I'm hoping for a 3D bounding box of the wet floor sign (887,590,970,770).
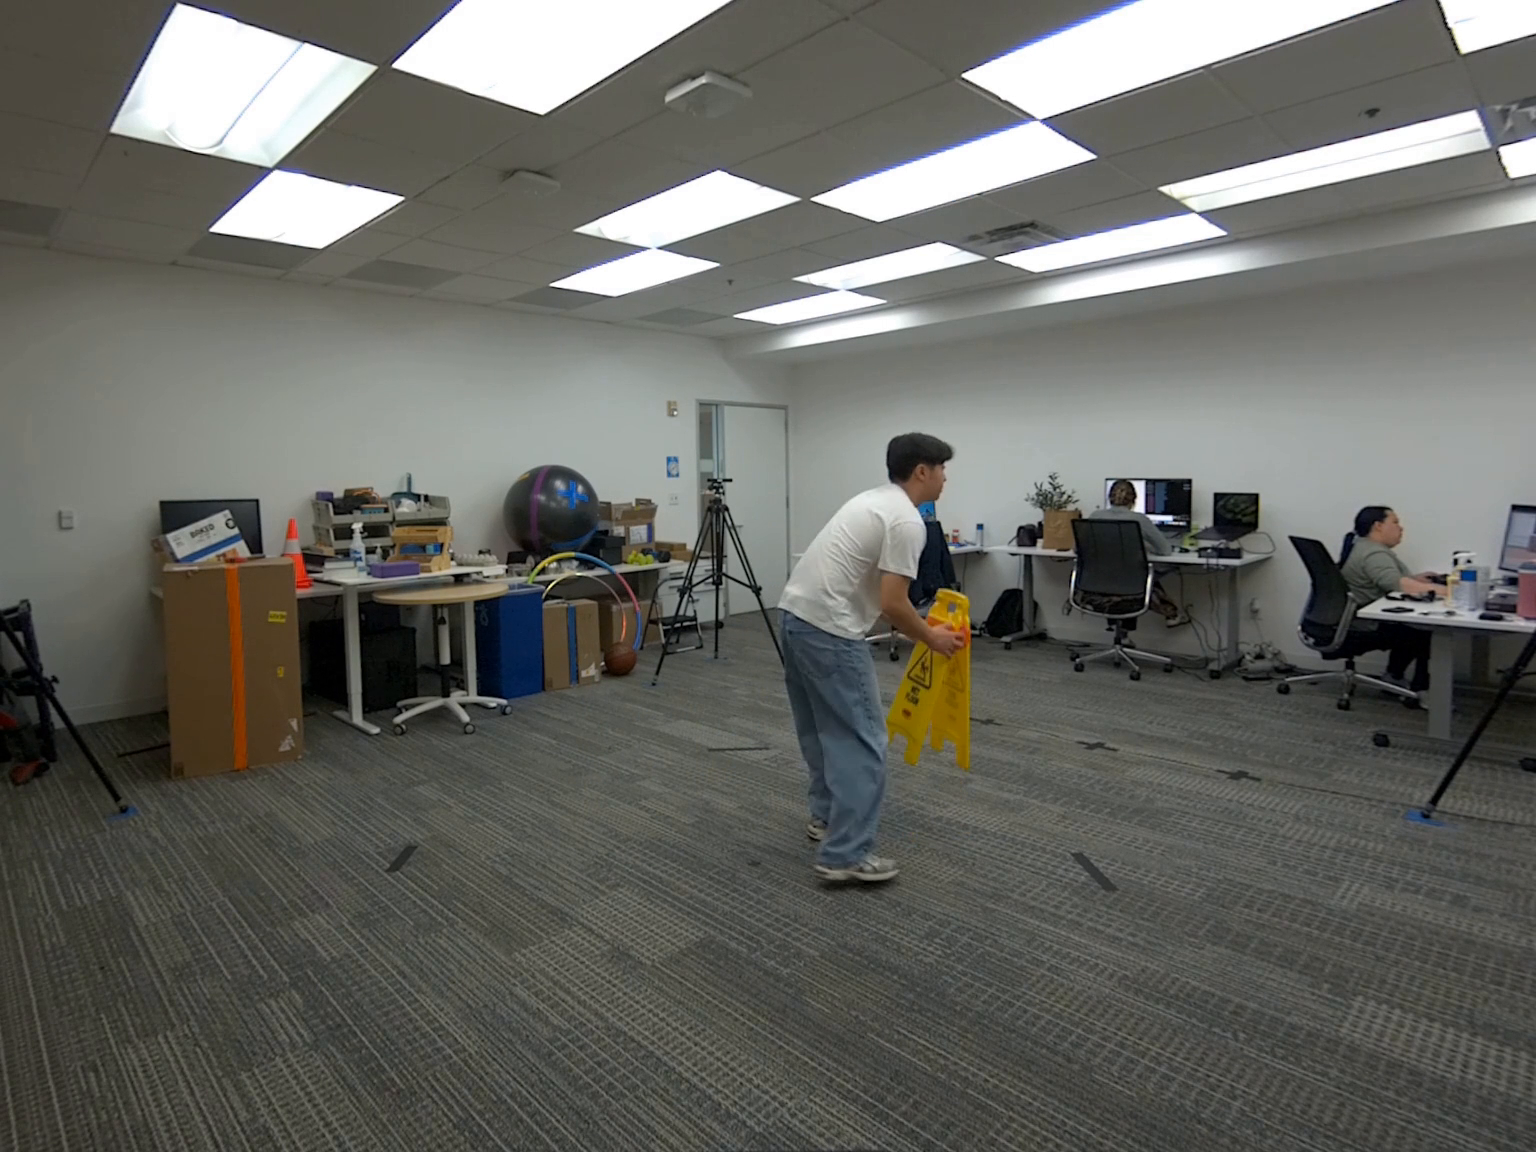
[{"bbox_3d":[0.662,0.386,3.297,0.284,0.644,0.288,7,3,-18],"label":"wet floor sign"}]
